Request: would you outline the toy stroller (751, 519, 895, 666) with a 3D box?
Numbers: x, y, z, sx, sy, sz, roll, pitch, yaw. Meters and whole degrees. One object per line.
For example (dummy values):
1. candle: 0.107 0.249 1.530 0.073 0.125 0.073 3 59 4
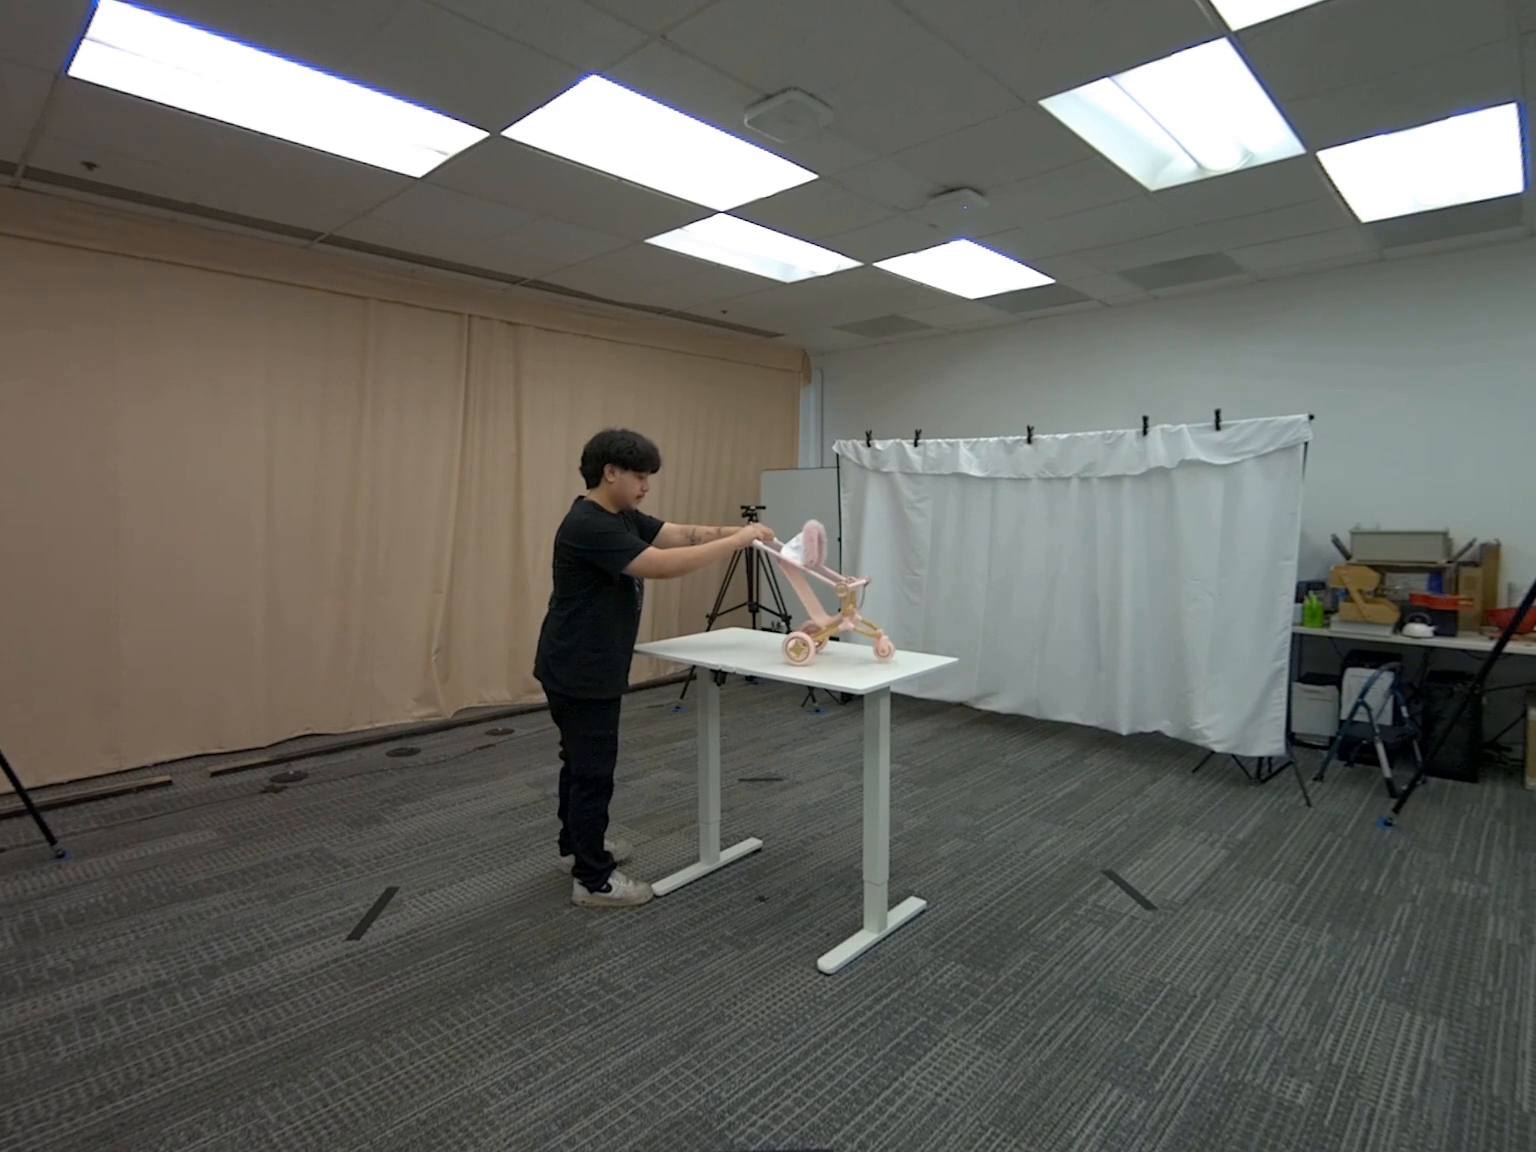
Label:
1. toy stroller: 0.185 0.057 2.769 0.347 0.537 0.276 -18 -3 21
